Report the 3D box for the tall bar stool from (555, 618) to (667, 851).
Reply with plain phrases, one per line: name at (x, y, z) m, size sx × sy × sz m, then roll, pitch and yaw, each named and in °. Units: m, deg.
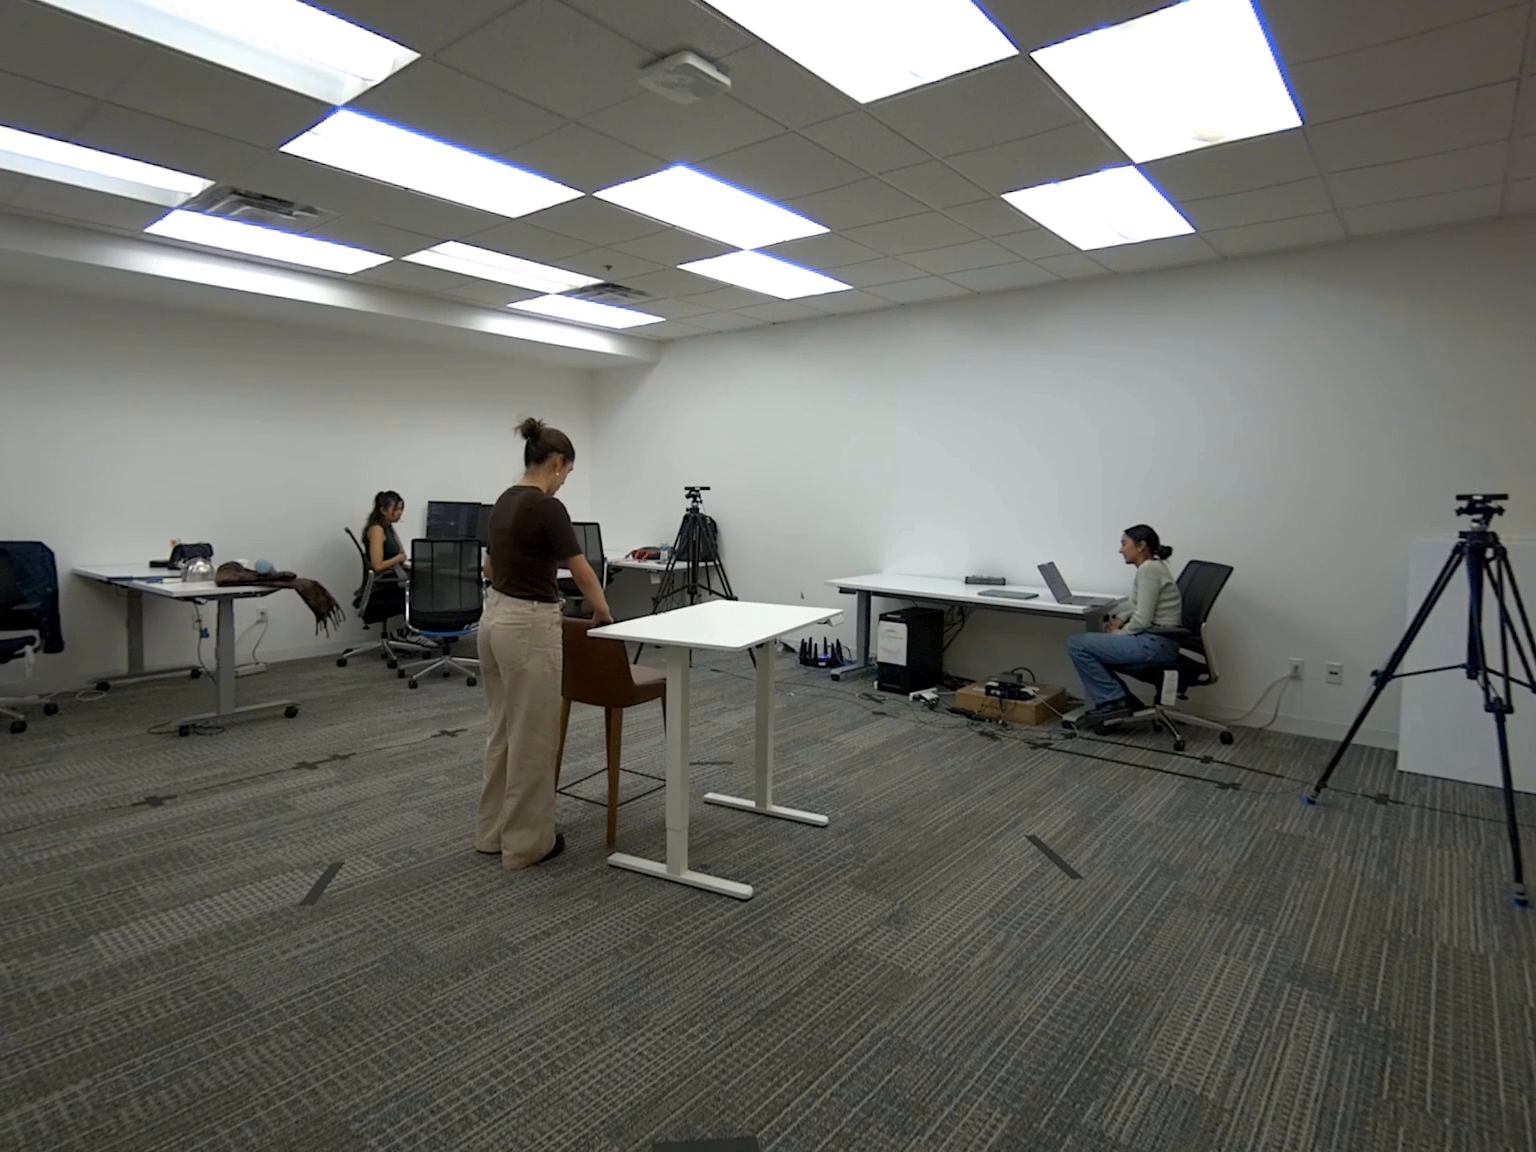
tall bar stool at (-0.667, 0.581, 3.527) m, size 0.470 × 0.886 × 0.455 m, roll 3°, pitch 6°, yaw 33°
